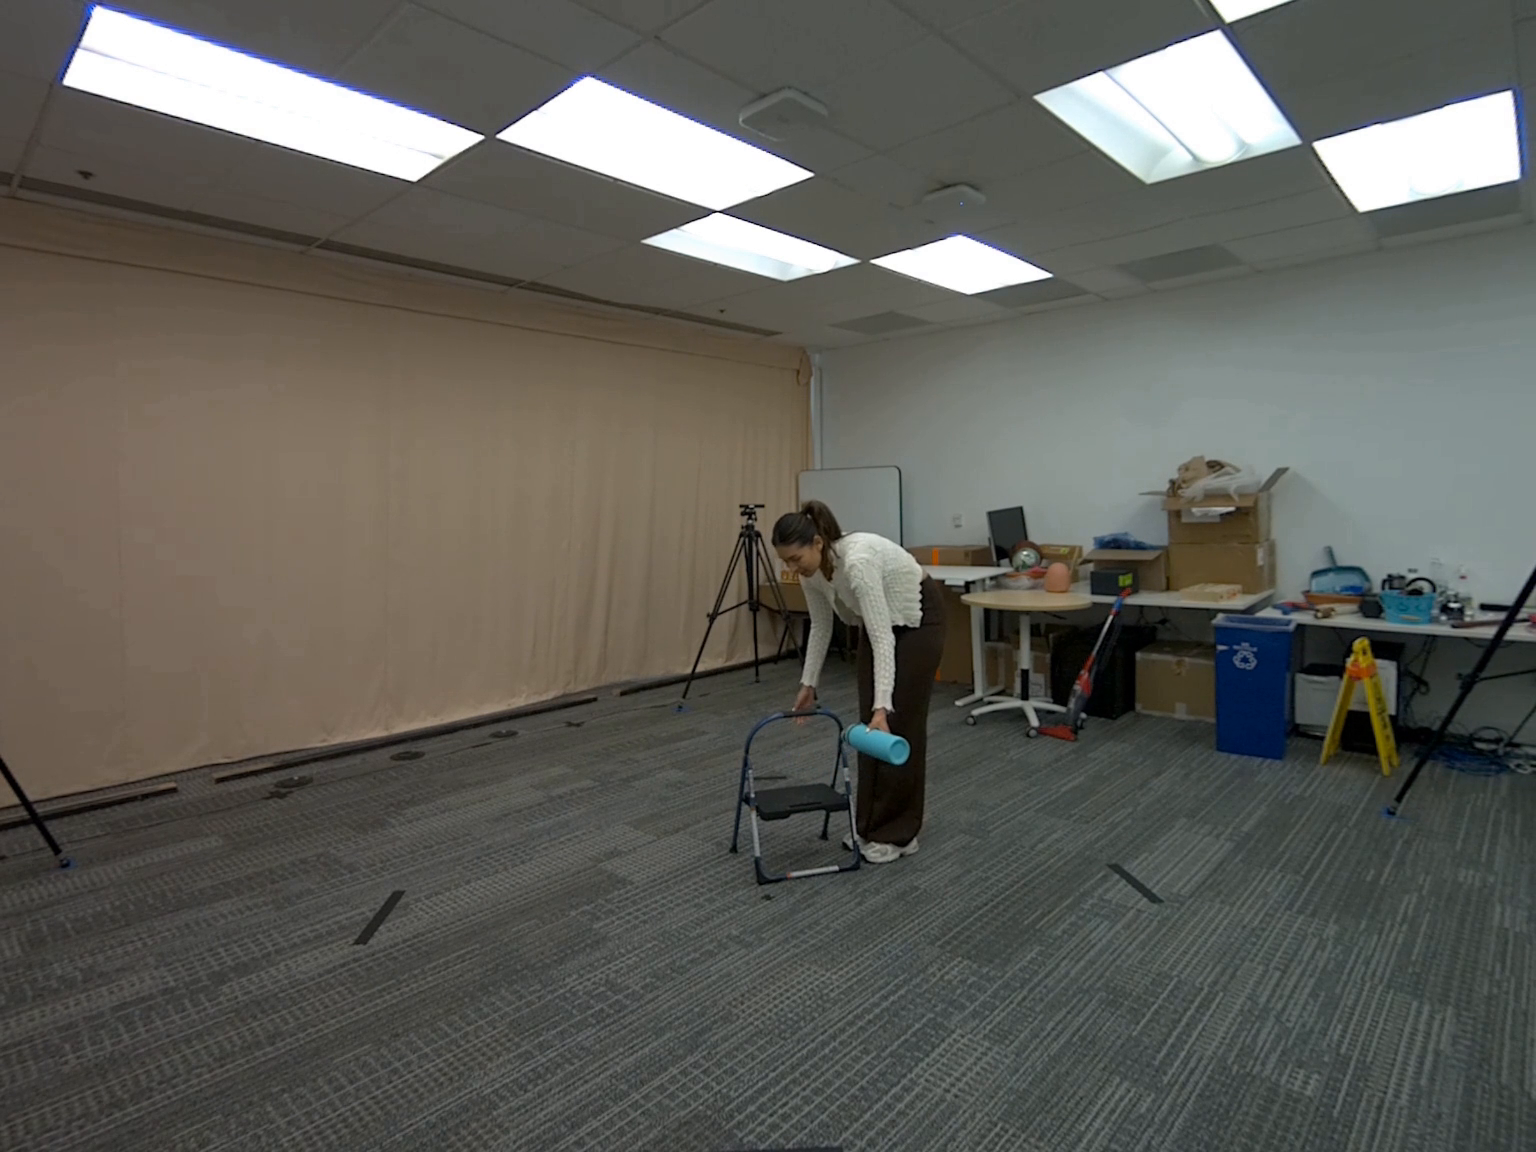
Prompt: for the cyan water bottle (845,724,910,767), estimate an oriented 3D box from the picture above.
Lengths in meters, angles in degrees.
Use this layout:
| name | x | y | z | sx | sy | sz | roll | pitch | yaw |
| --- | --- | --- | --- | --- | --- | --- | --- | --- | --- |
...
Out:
| name | x | y | z | sx | sy | sz | roll | pitch | yaw |
| --- | --- | --- | --- | --- | --- | --- | --- | --- | --- |
| cyan water bottle | 0.358 | 0.573 | 2.865 | 0.090 | 0.092 | 0.290 | -3 | 4 | -25 |
